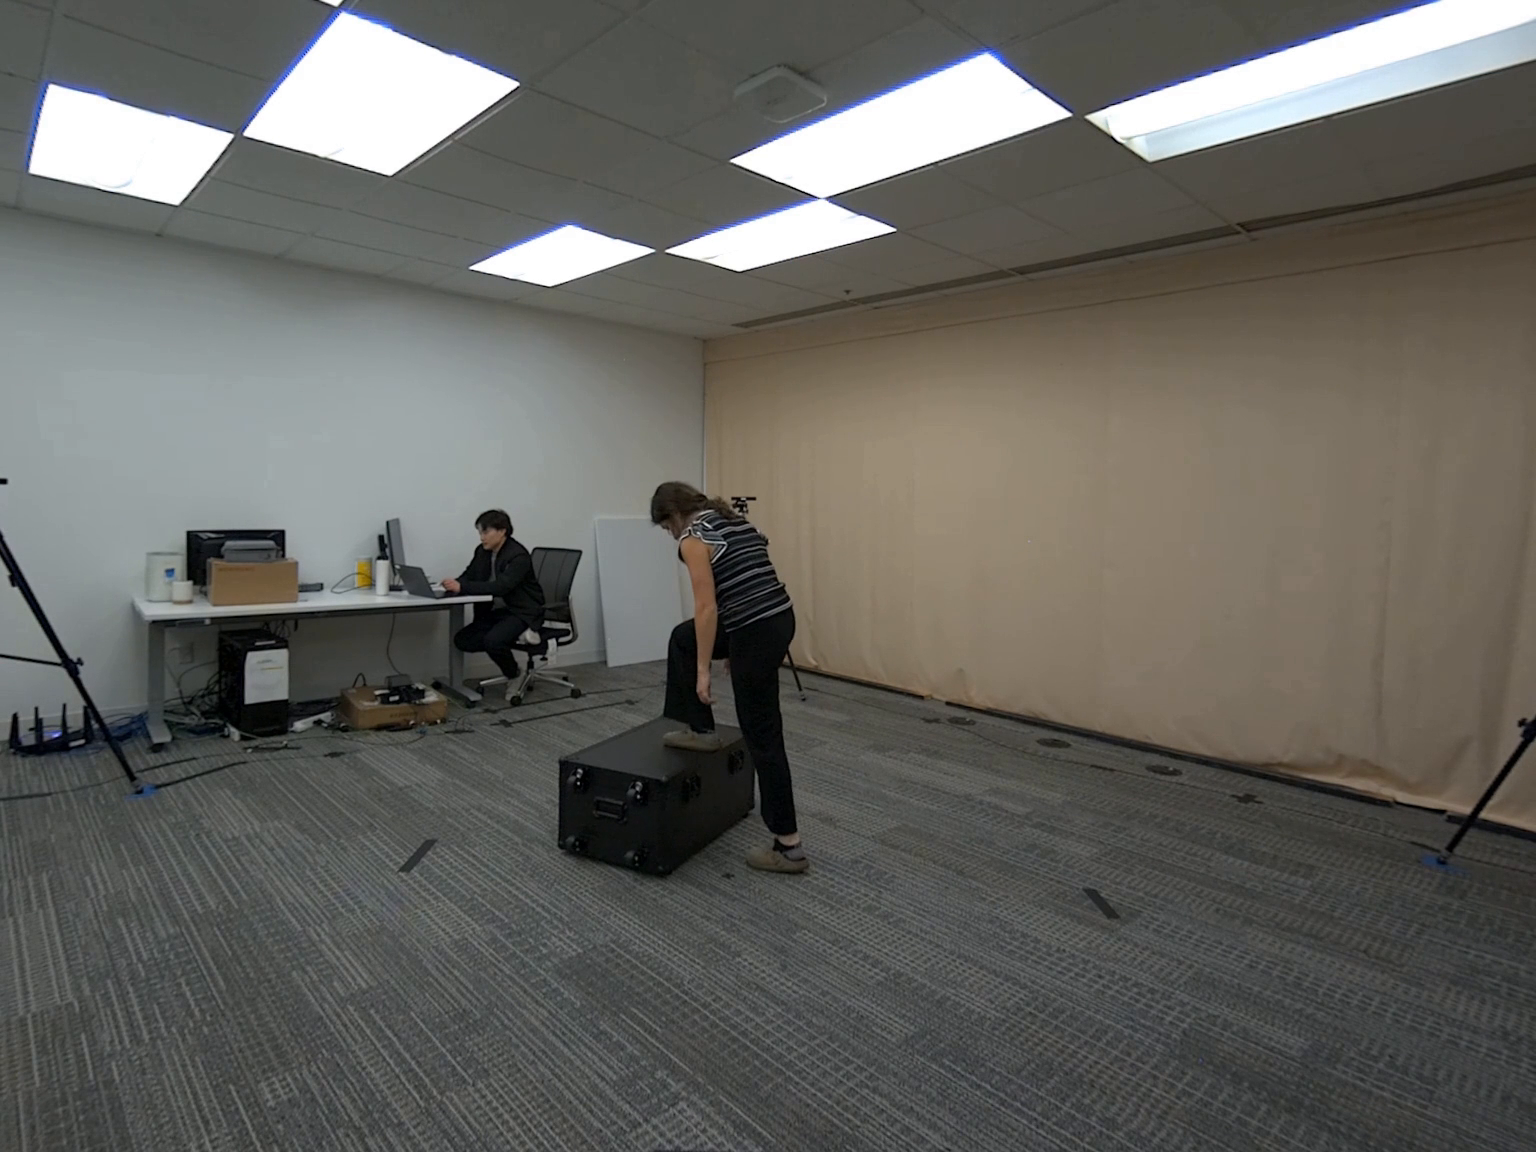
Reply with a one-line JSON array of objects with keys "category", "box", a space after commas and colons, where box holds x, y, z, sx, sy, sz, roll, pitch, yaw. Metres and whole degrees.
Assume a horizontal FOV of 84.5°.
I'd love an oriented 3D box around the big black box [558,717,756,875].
[{"category": "big black box", "box": [-0.454, 0.879, 3.458, 0.531, 0.395, 0.847, 4, 5, 25]}]
